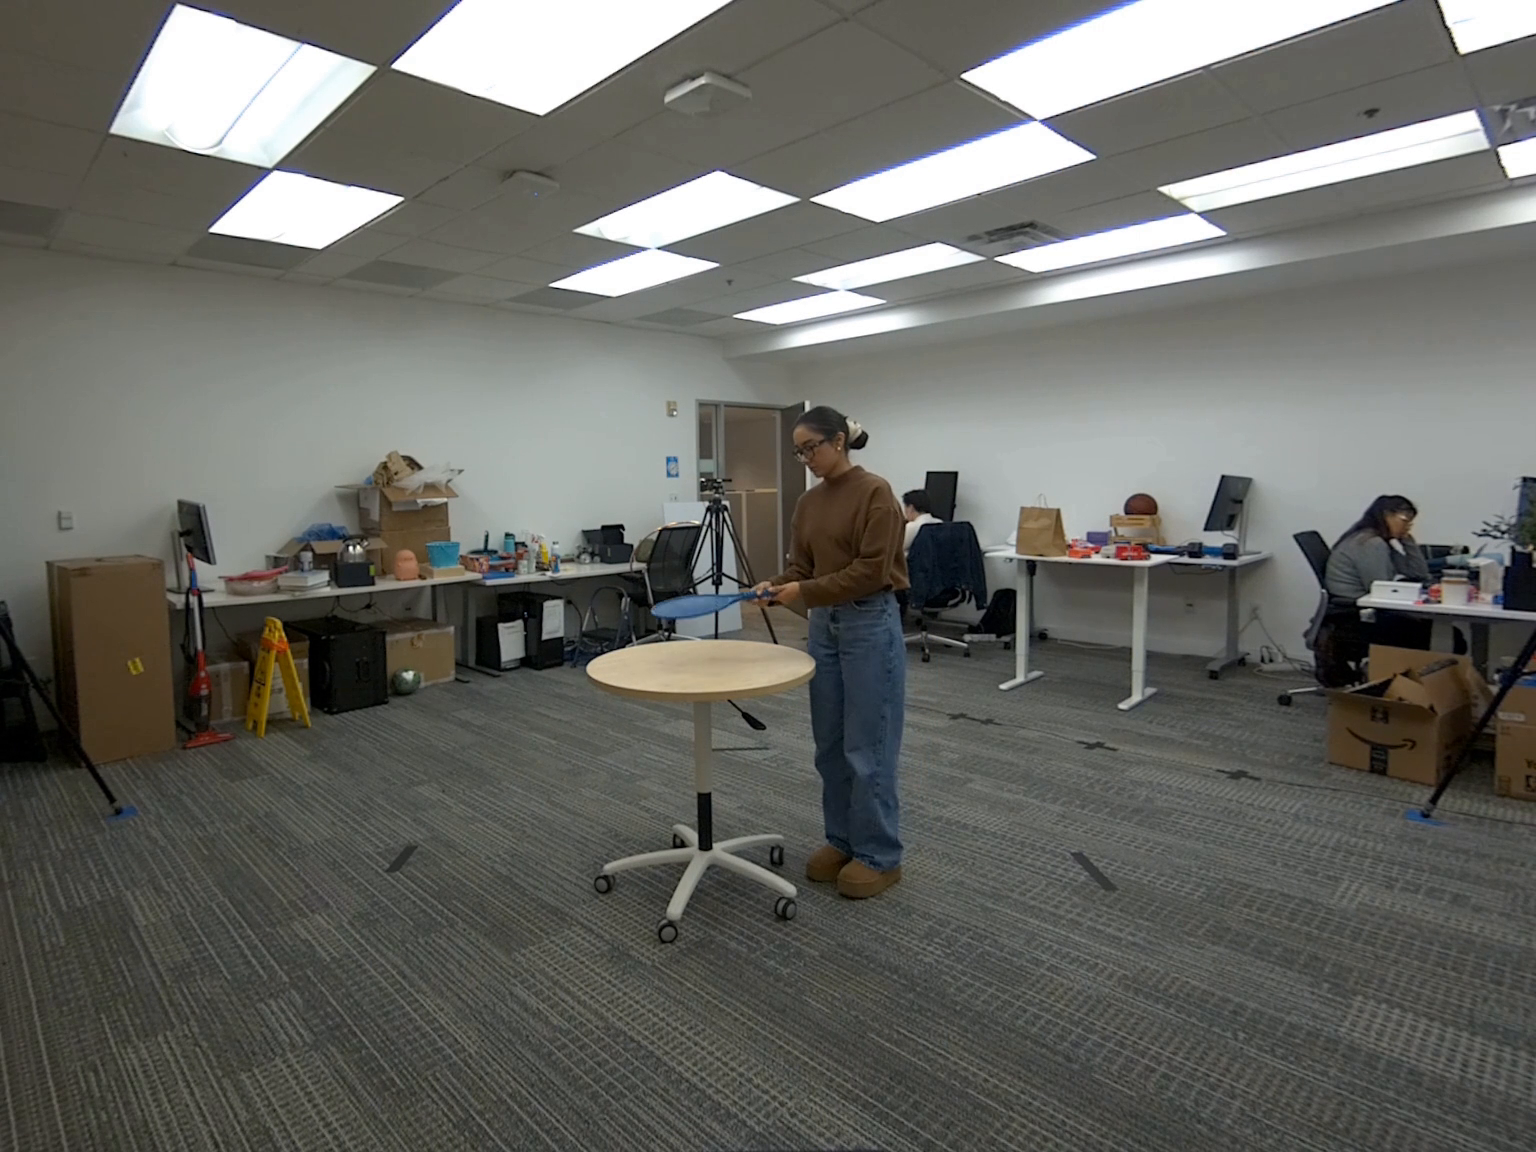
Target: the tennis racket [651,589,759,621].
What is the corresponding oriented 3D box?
[{"bbox_3d":[-0.159,0.080,2.813,0.426,0.031,0.219,-9,13,-19],"label":"tennis racket"}]
